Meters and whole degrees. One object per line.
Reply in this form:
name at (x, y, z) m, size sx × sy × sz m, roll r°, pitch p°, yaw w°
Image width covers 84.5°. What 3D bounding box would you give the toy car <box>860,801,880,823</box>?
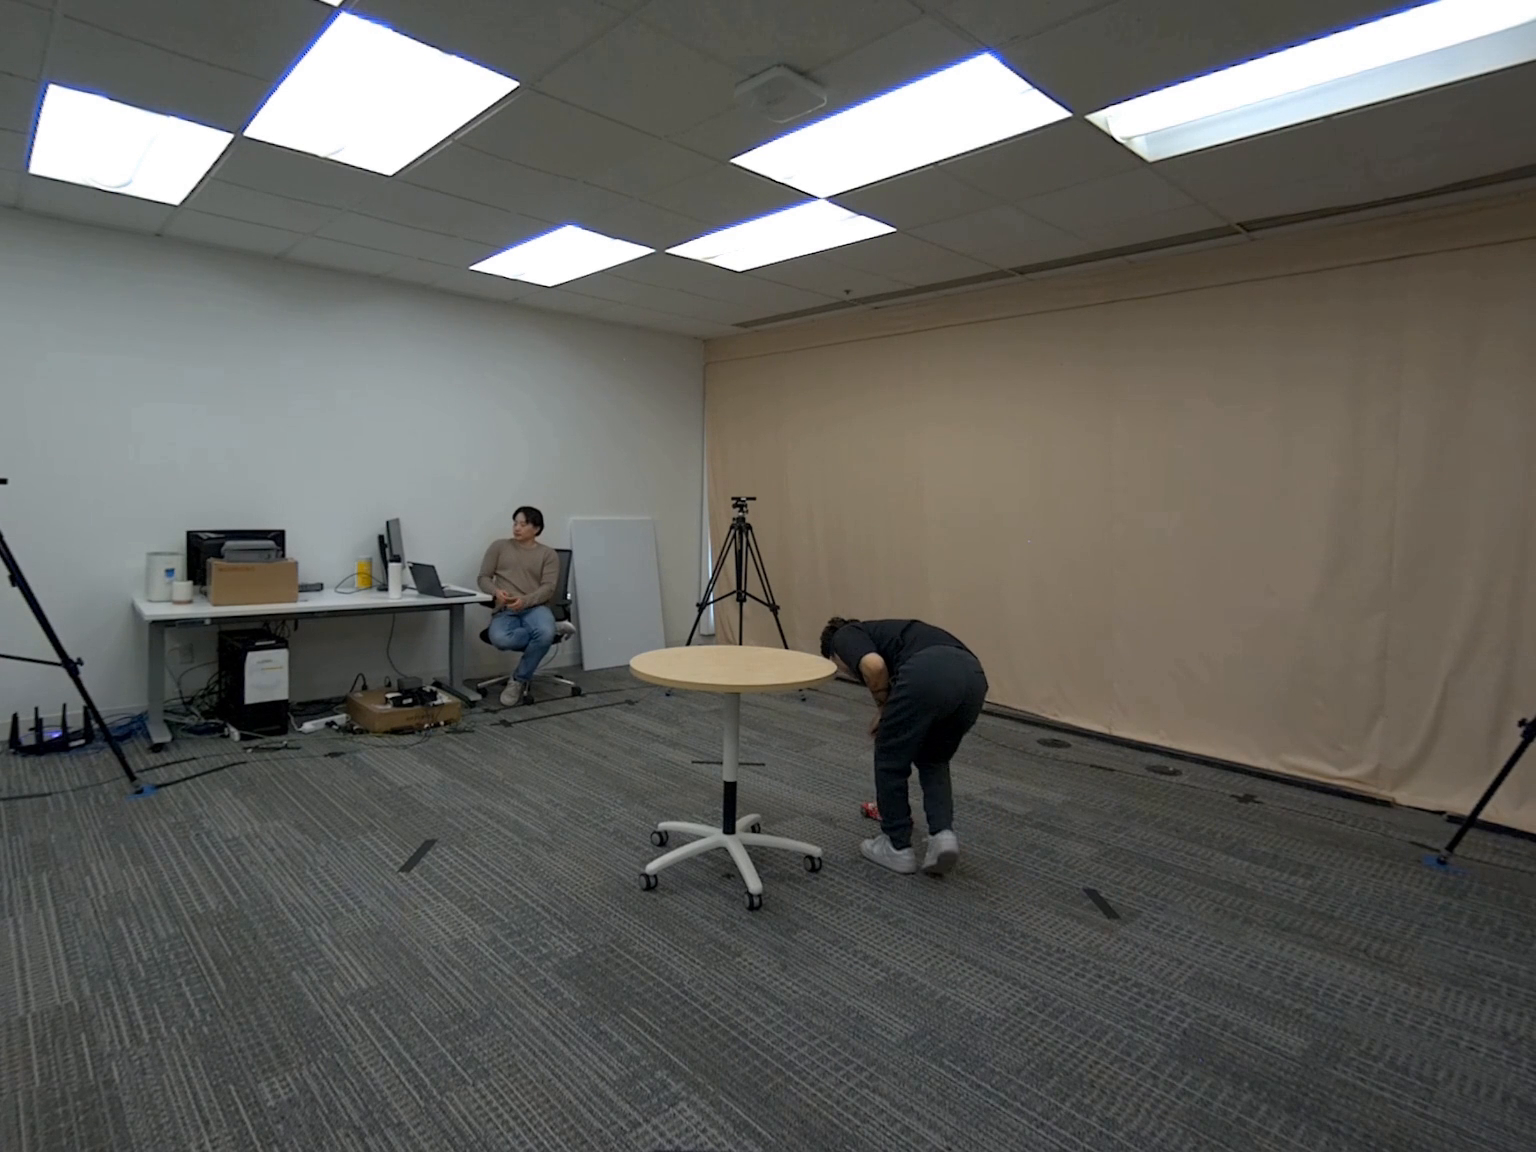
toy car at (0.518, 1.046, 3.685) m, size 0.127 × 0.083 × 0.259 m, roll 0°, pitch -6°, yaw -36°
